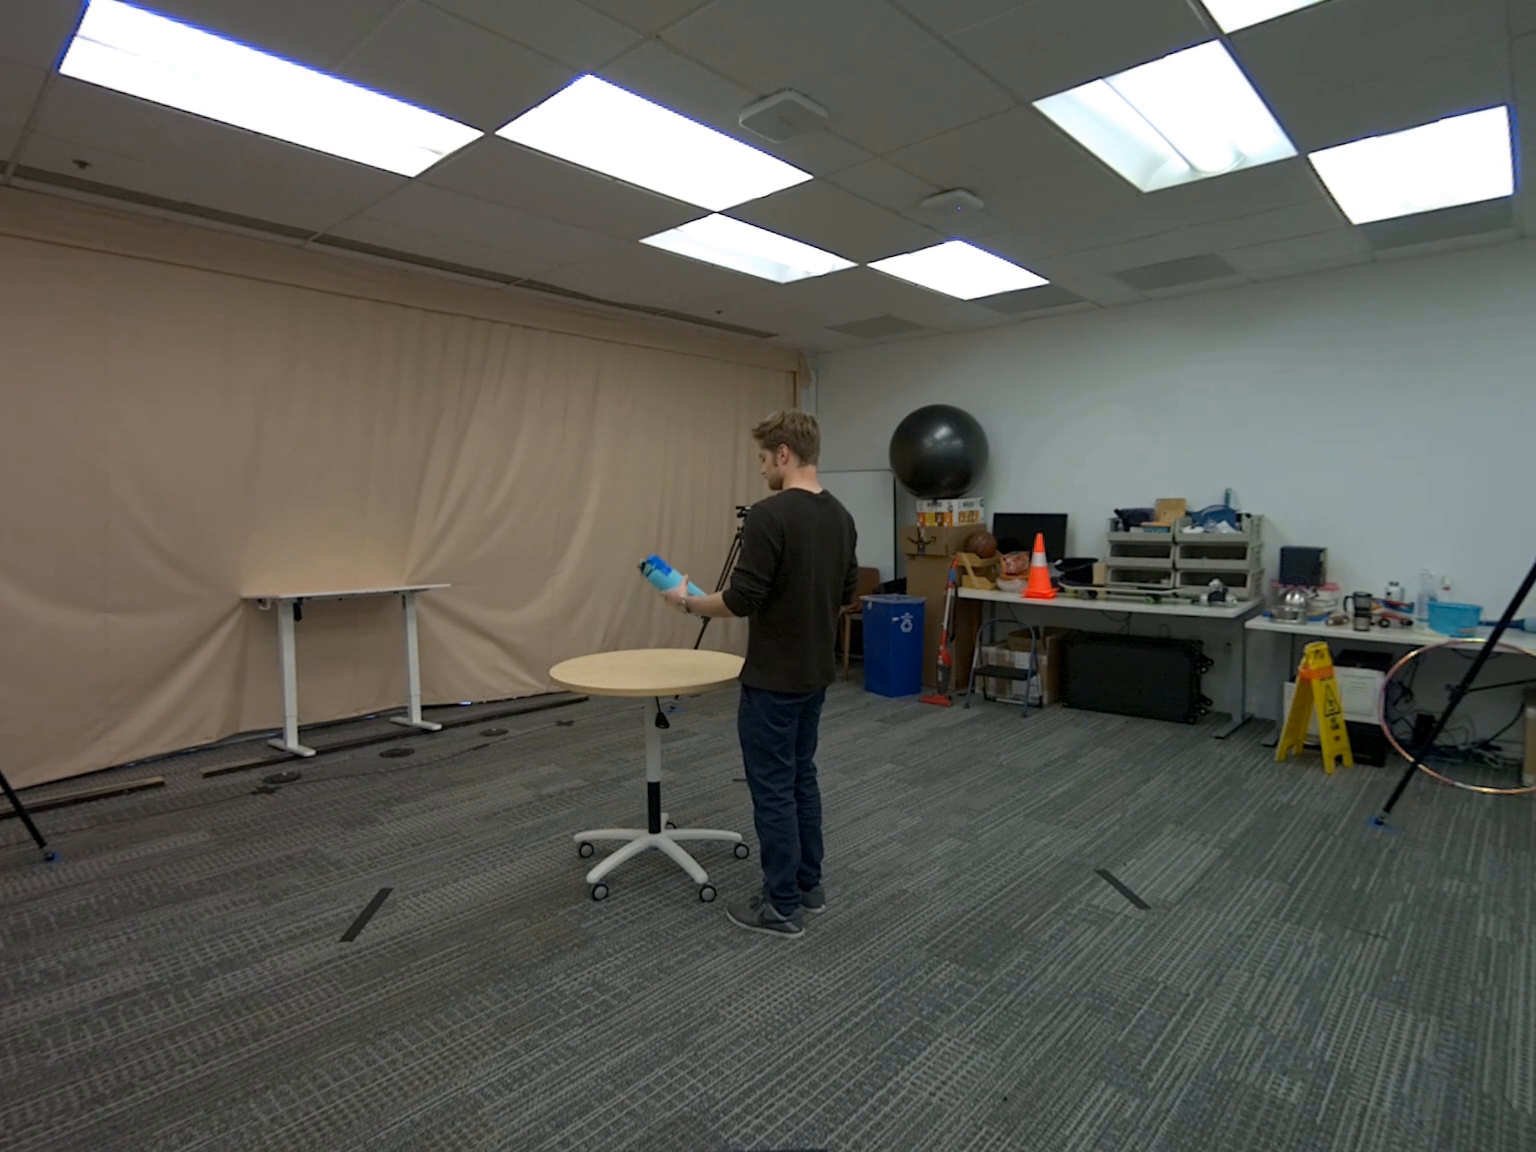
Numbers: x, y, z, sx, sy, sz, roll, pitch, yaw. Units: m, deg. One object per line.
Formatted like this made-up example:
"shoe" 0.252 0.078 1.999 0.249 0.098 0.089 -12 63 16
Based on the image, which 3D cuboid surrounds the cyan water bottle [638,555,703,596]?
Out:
"cyan water bottle" -0.303 0.031 2.923 0.284 0.092 0.092 38 5 2
